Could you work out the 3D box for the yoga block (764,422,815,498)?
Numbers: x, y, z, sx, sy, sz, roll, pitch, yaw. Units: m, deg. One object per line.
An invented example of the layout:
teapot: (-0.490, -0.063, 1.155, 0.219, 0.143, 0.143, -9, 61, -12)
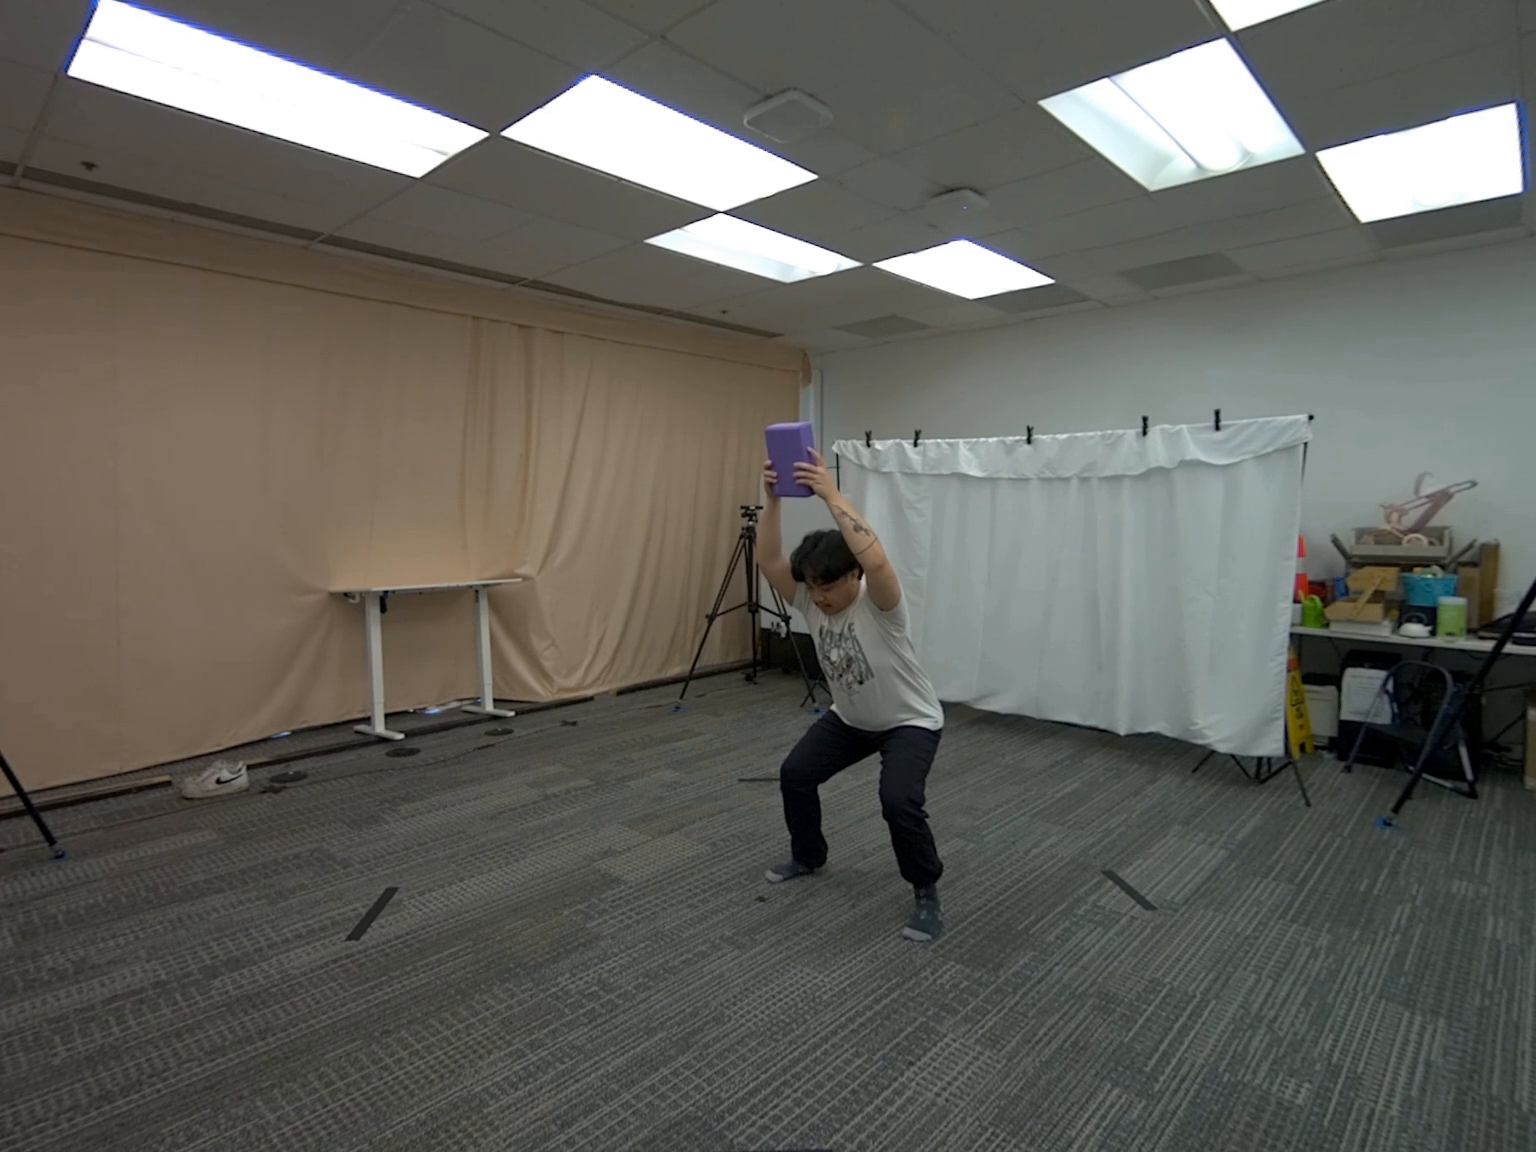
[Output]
yoga block: (0.073, -0.365, 2.676, 0.154, 0.226, 0.075, 6, 23, 45)
